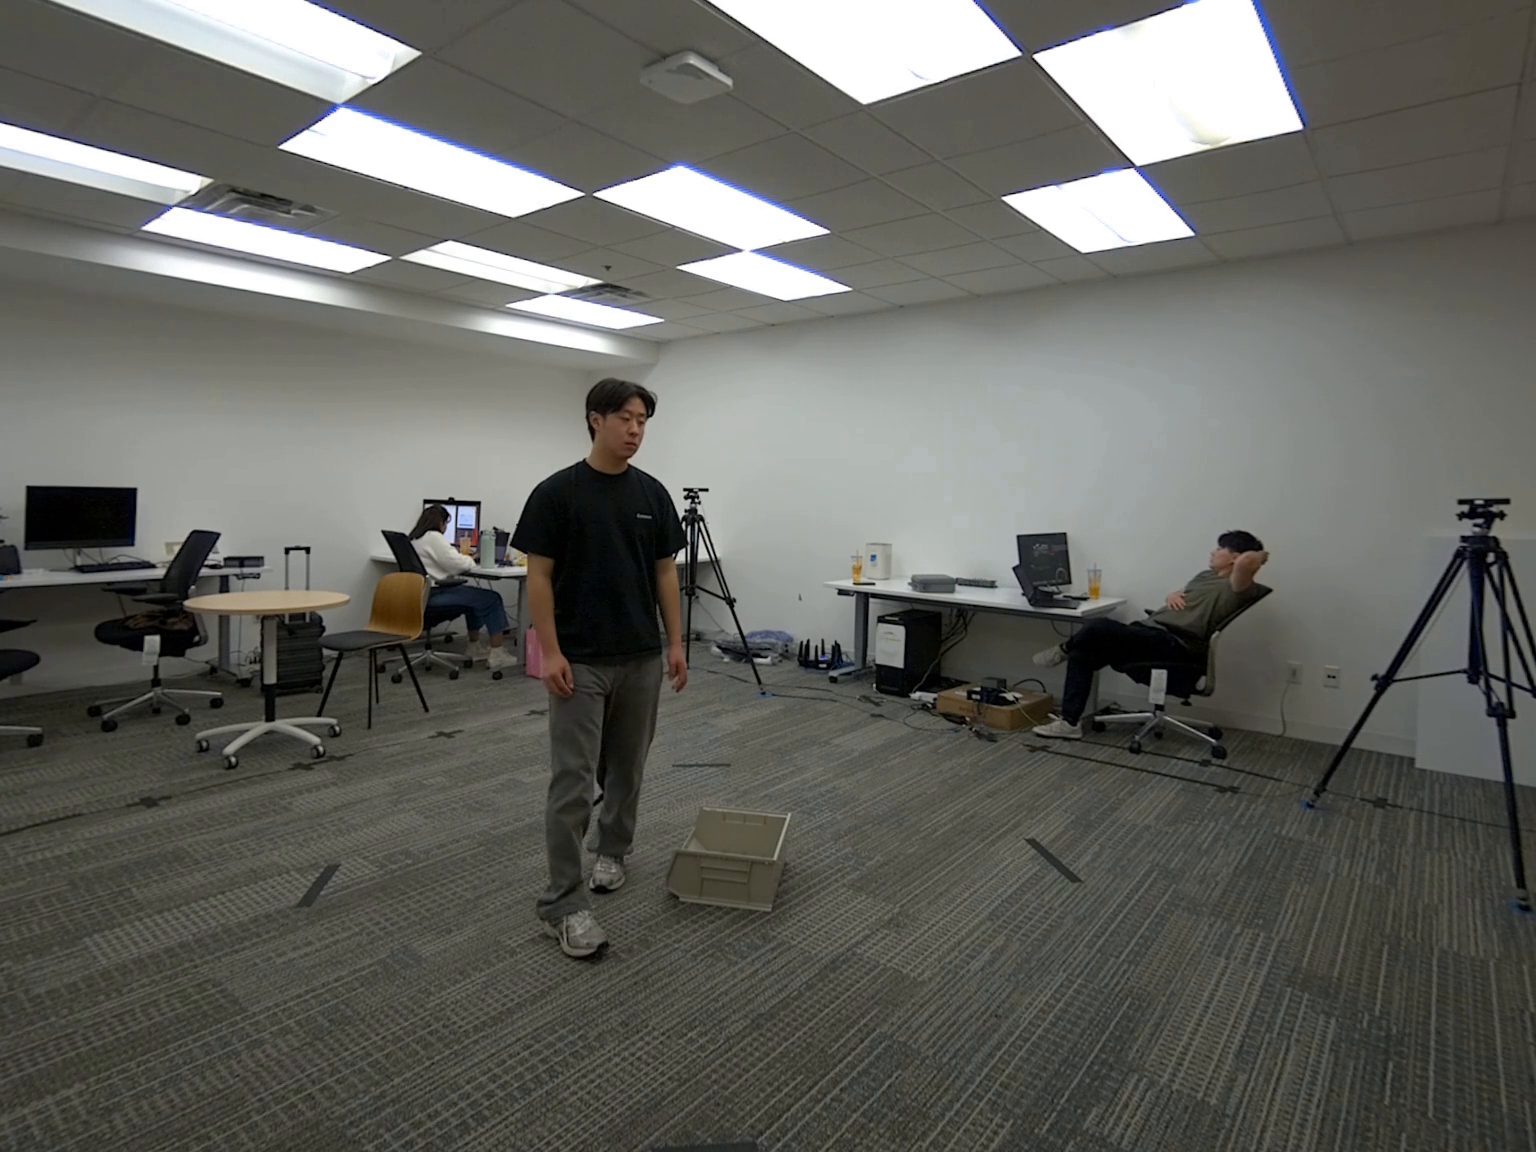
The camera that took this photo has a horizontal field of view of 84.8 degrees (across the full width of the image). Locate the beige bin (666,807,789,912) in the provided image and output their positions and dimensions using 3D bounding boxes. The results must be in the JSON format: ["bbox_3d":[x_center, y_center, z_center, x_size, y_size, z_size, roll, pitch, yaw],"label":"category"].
[{"bbox_3d":[-0.137,0.993,3.027,0.382,0.188,0.419,3,5,9],"label":"beige bin"}]
